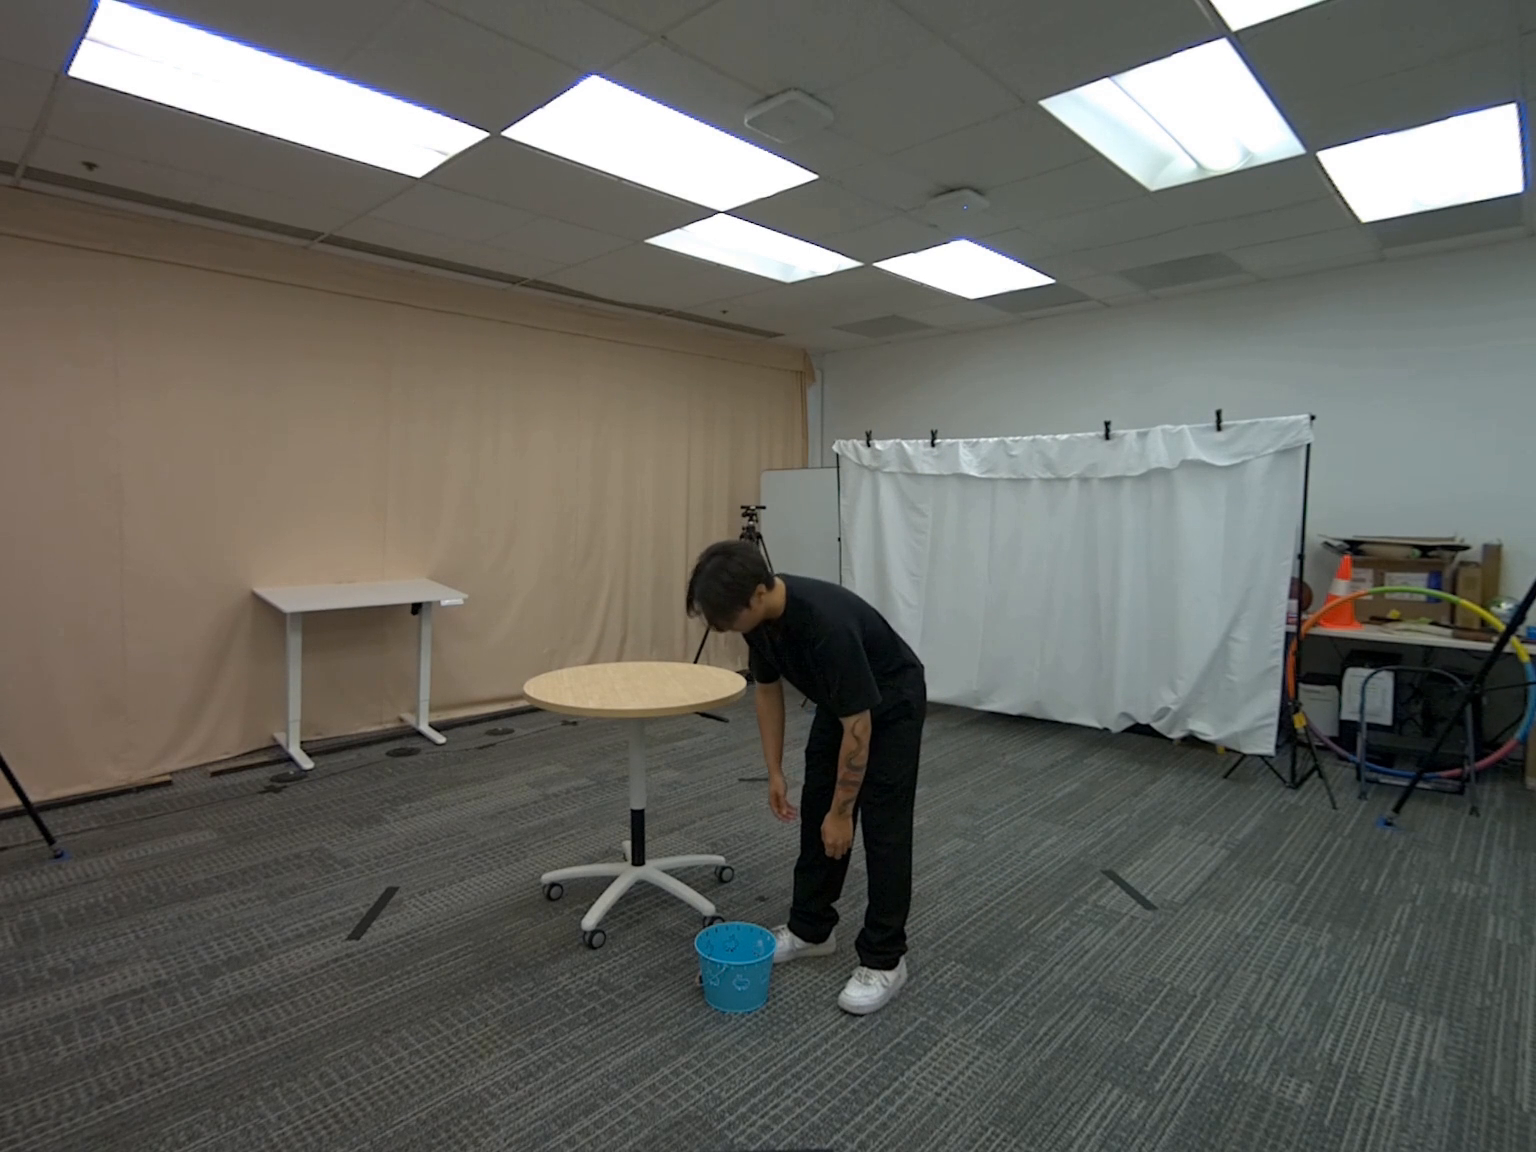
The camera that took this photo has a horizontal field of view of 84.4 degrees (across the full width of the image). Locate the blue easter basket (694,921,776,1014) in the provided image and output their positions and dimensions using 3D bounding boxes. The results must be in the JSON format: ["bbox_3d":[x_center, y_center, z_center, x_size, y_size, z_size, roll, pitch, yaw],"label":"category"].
[{"bbox_3d":[-0.092,1.118,2.399,0.243,0.156,0.244,-1,3,-2],"label":"blue easter basket"}]
